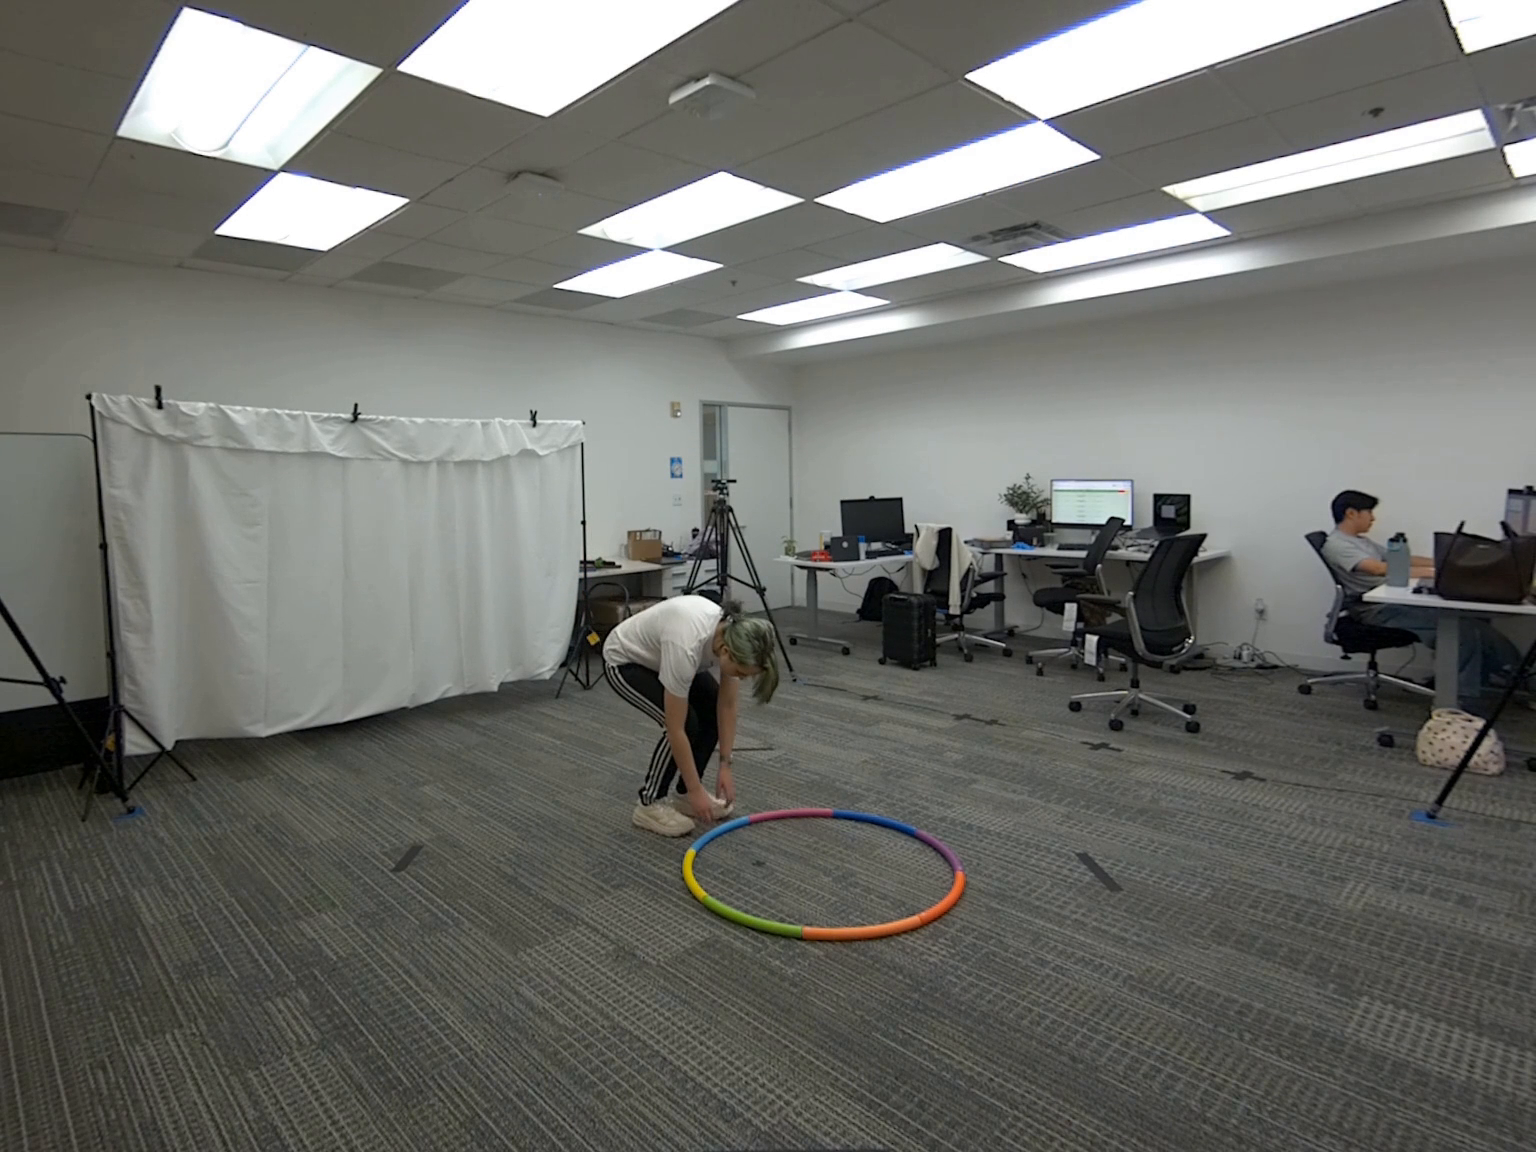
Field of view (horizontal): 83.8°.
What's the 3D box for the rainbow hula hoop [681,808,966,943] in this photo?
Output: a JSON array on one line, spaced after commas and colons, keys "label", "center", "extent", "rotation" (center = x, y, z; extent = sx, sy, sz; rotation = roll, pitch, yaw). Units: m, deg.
[{"label": "rainbow hula hoop", "center": [0.185, 1.018, 3.056], "extent": [0.978, 0.035, 0.984], "rotation": [-1, 7, -2]}]
